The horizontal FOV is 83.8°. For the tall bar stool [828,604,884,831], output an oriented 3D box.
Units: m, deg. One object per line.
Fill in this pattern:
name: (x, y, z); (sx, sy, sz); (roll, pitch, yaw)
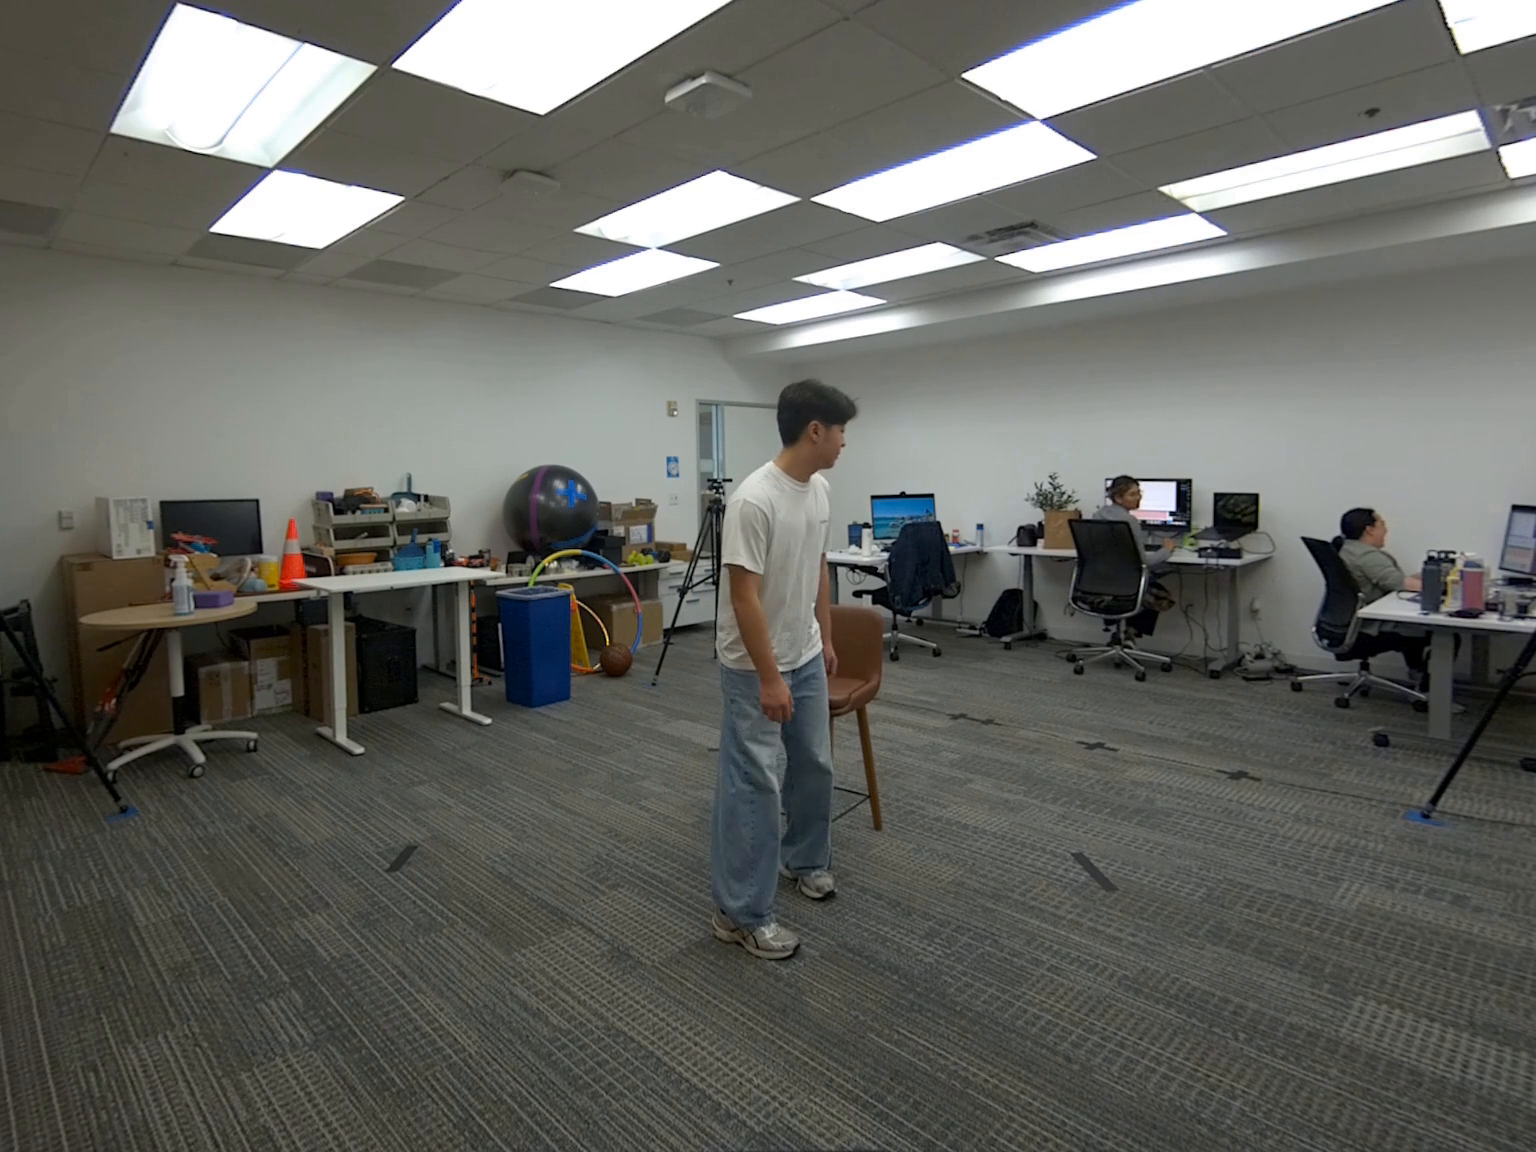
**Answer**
tall bar stool: (0.181, 0.582, 3.318); (0.470, 0.888, 0.455); (3, 4, 38)
